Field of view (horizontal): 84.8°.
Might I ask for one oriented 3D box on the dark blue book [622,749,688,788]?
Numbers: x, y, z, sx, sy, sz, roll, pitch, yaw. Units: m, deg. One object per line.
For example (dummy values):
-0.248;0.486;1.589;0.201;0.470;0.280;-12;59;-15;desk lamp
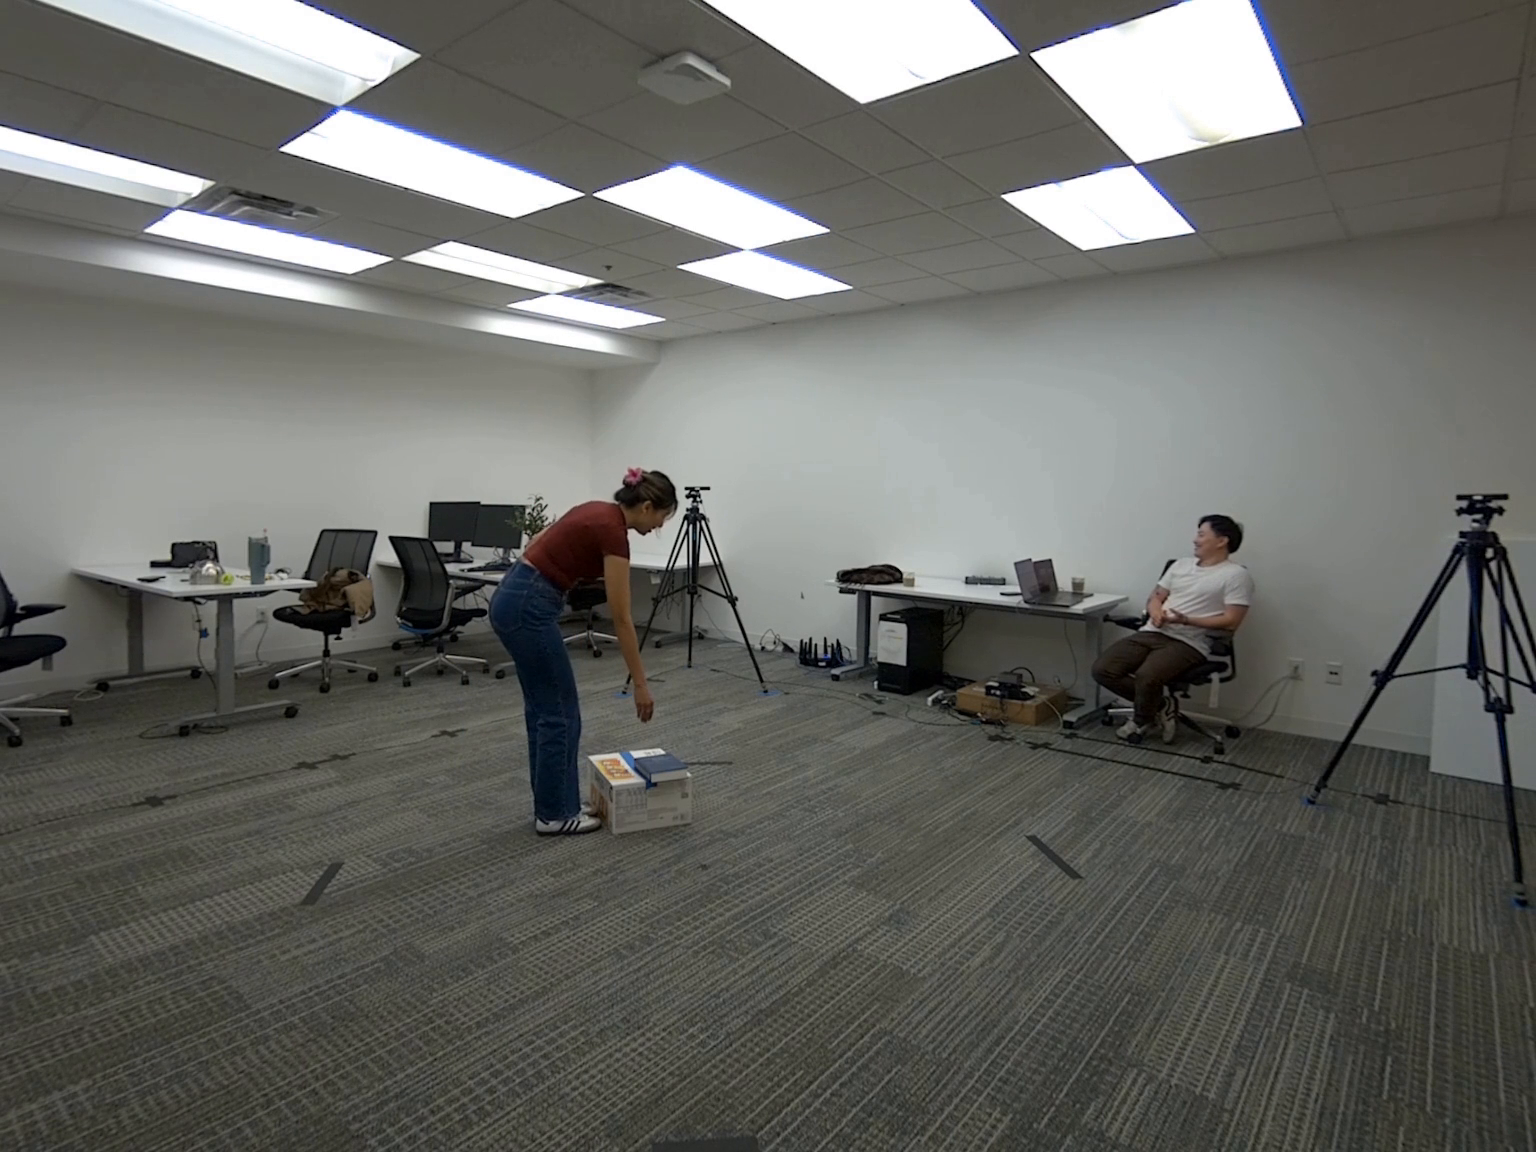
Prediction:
-0.465;0.803;3.552;0.160;0.045;0.251;-3;4;-24;dark blue book
